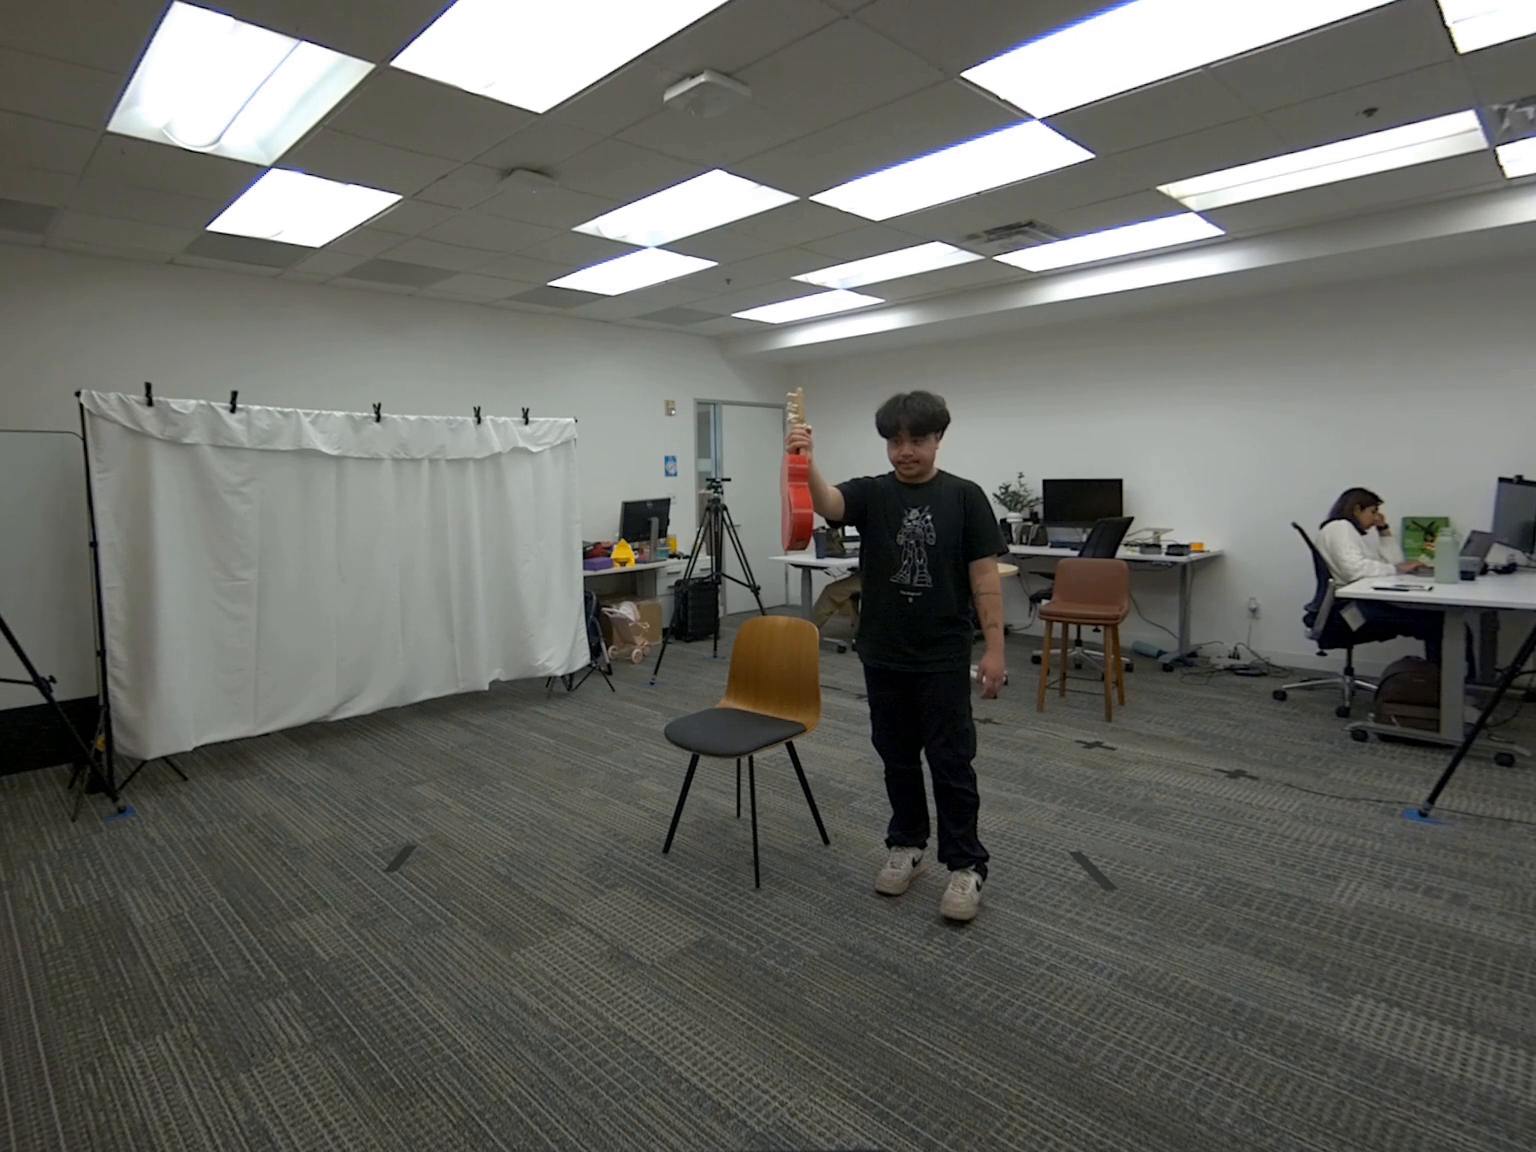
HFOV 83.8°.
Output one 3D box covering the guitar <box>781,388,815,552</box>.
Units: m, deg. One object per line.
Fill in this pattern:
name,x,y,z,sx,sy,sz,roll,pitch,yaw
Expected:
guitar,0.087,-0.306,2.470,0.070,0.510,0.189,0,-29,-5
